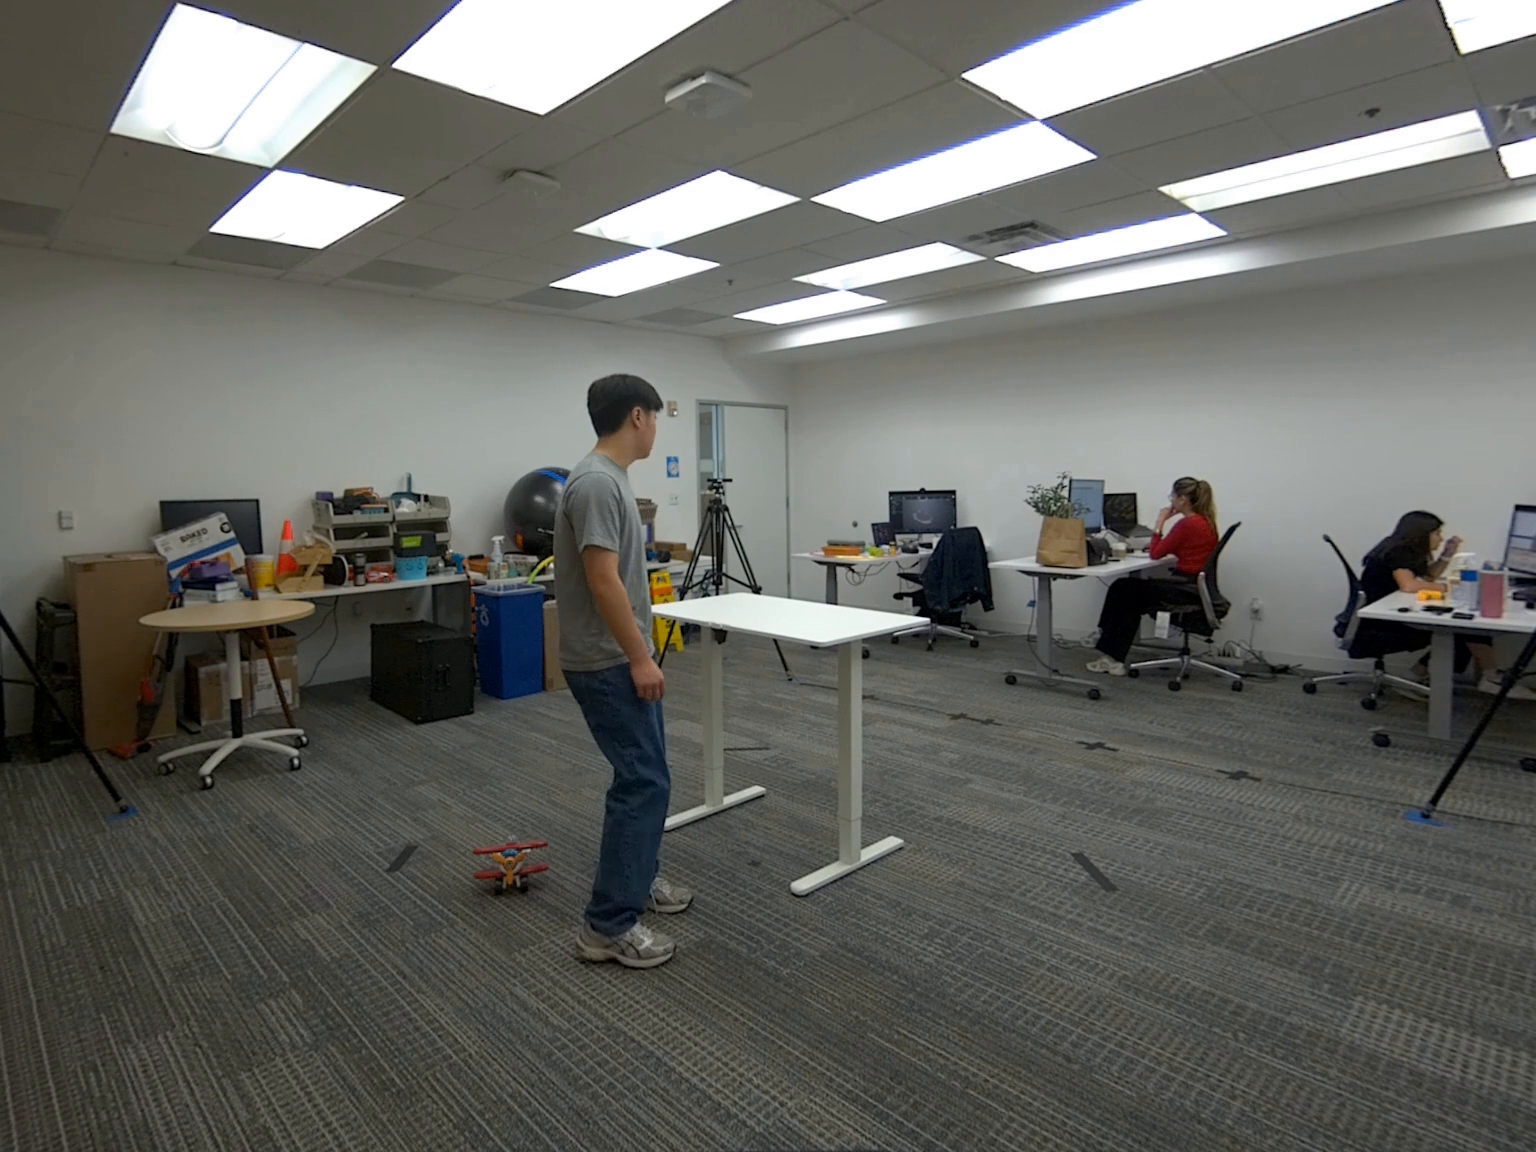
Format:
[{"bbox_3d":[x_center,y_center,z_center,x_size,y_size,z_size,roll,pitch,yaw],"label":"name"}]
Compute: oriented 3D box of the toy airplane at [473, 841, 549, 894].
[{"bbox_3d":[-0.924,1.005,3.000,0.245,0.155,0.267,-6,9,-40],"label":"toy airplane"}]
